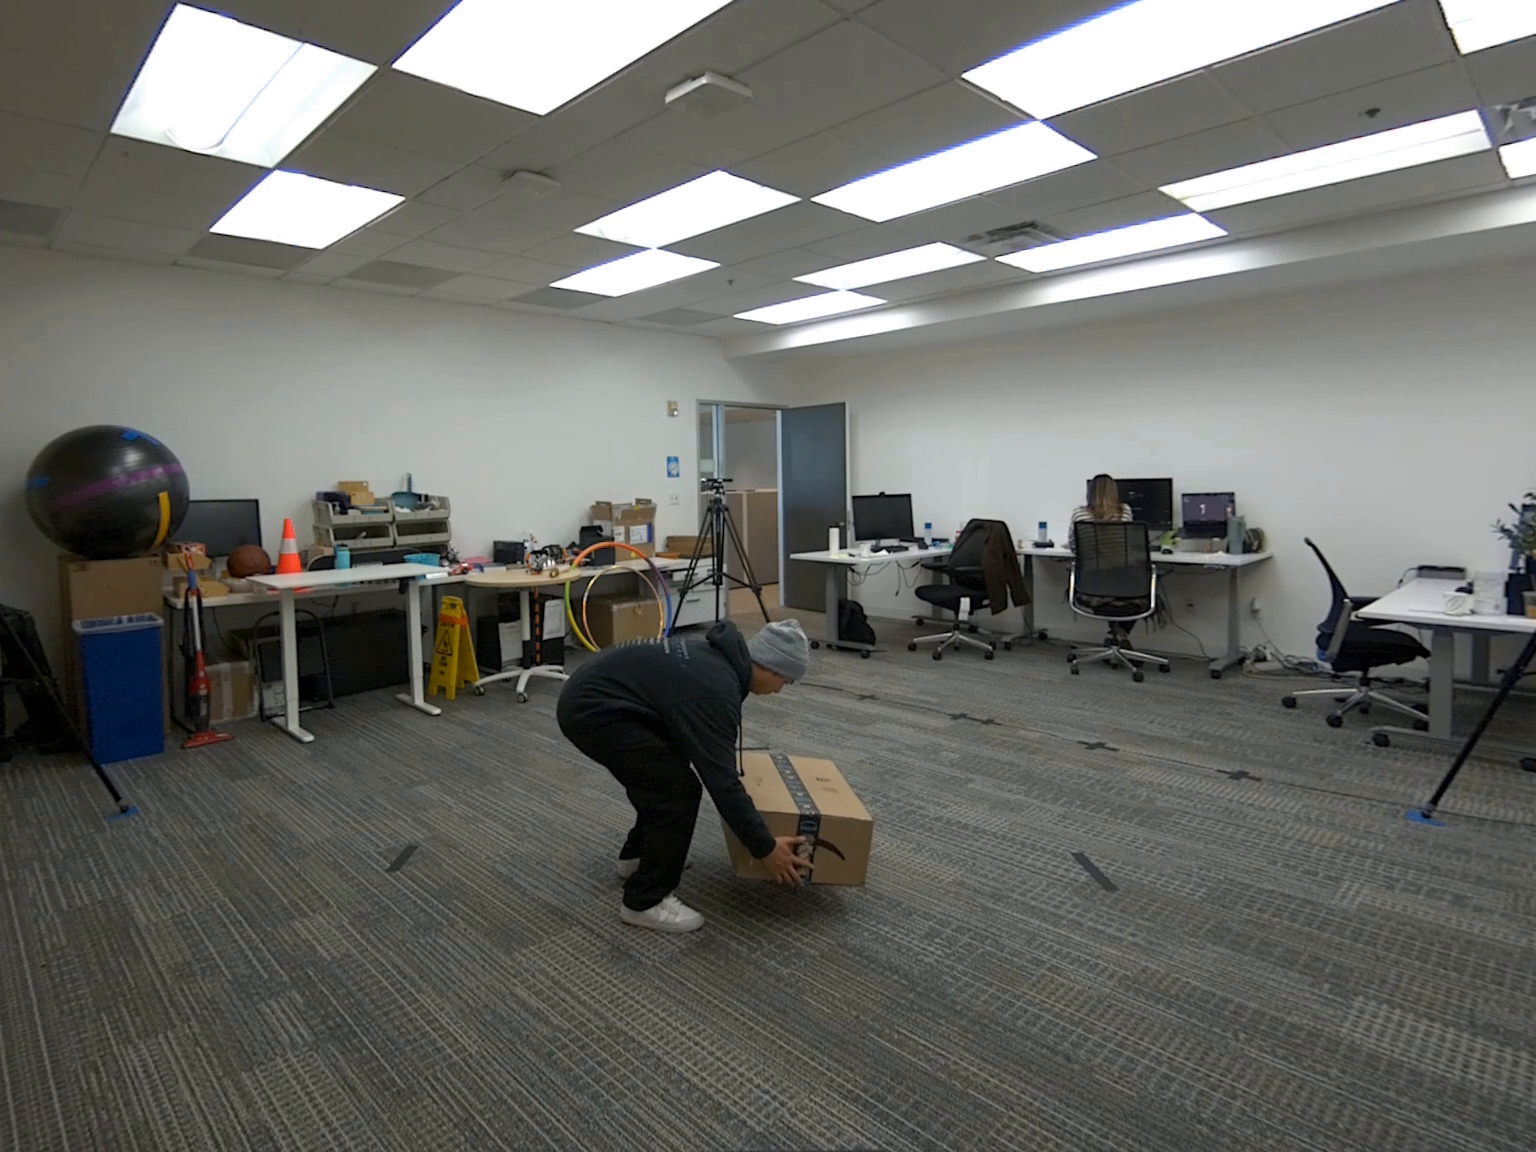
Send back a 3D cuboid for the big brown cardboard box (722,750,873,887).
[{"bbox_3d":[0.075,0.815,2.918,0.414,0.232,0.596,7,7,-9],"label":"big brown cardboard box"}]
